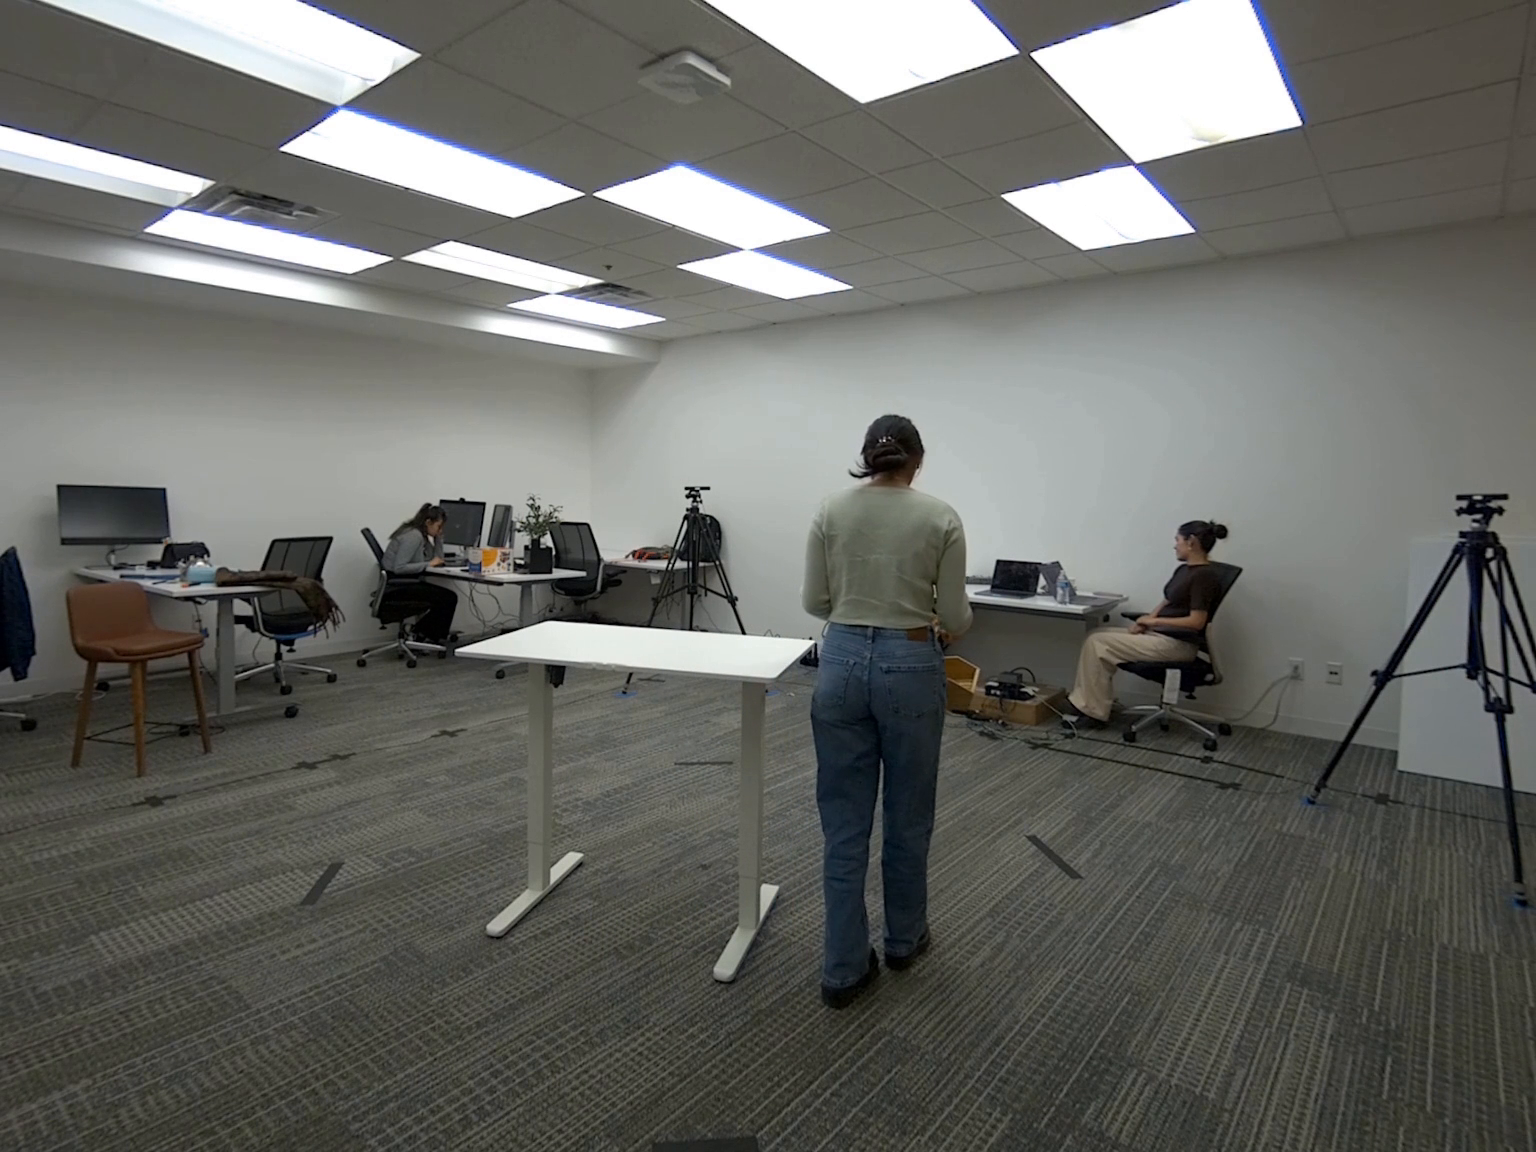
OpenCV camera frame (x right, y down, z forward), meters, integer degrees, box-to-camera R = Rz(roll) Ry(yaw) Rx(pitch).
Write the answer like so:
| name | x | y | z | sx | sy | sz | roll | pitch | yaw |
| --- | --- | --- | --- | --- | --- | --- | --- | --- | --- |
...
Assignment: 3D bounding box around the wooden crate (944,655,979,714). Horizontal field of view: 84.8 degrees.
| name | x | y | z | sx | sy | sz | roll | pitch | yaw |
| --- | --- | --- | --- | --- | --- | --- | --- | --- | --- |
| wooden crate | 0.479 | 0.241 | 2.644 | 0.307 | 0.272 | 0.320 | -9 | 4 | 20 |
